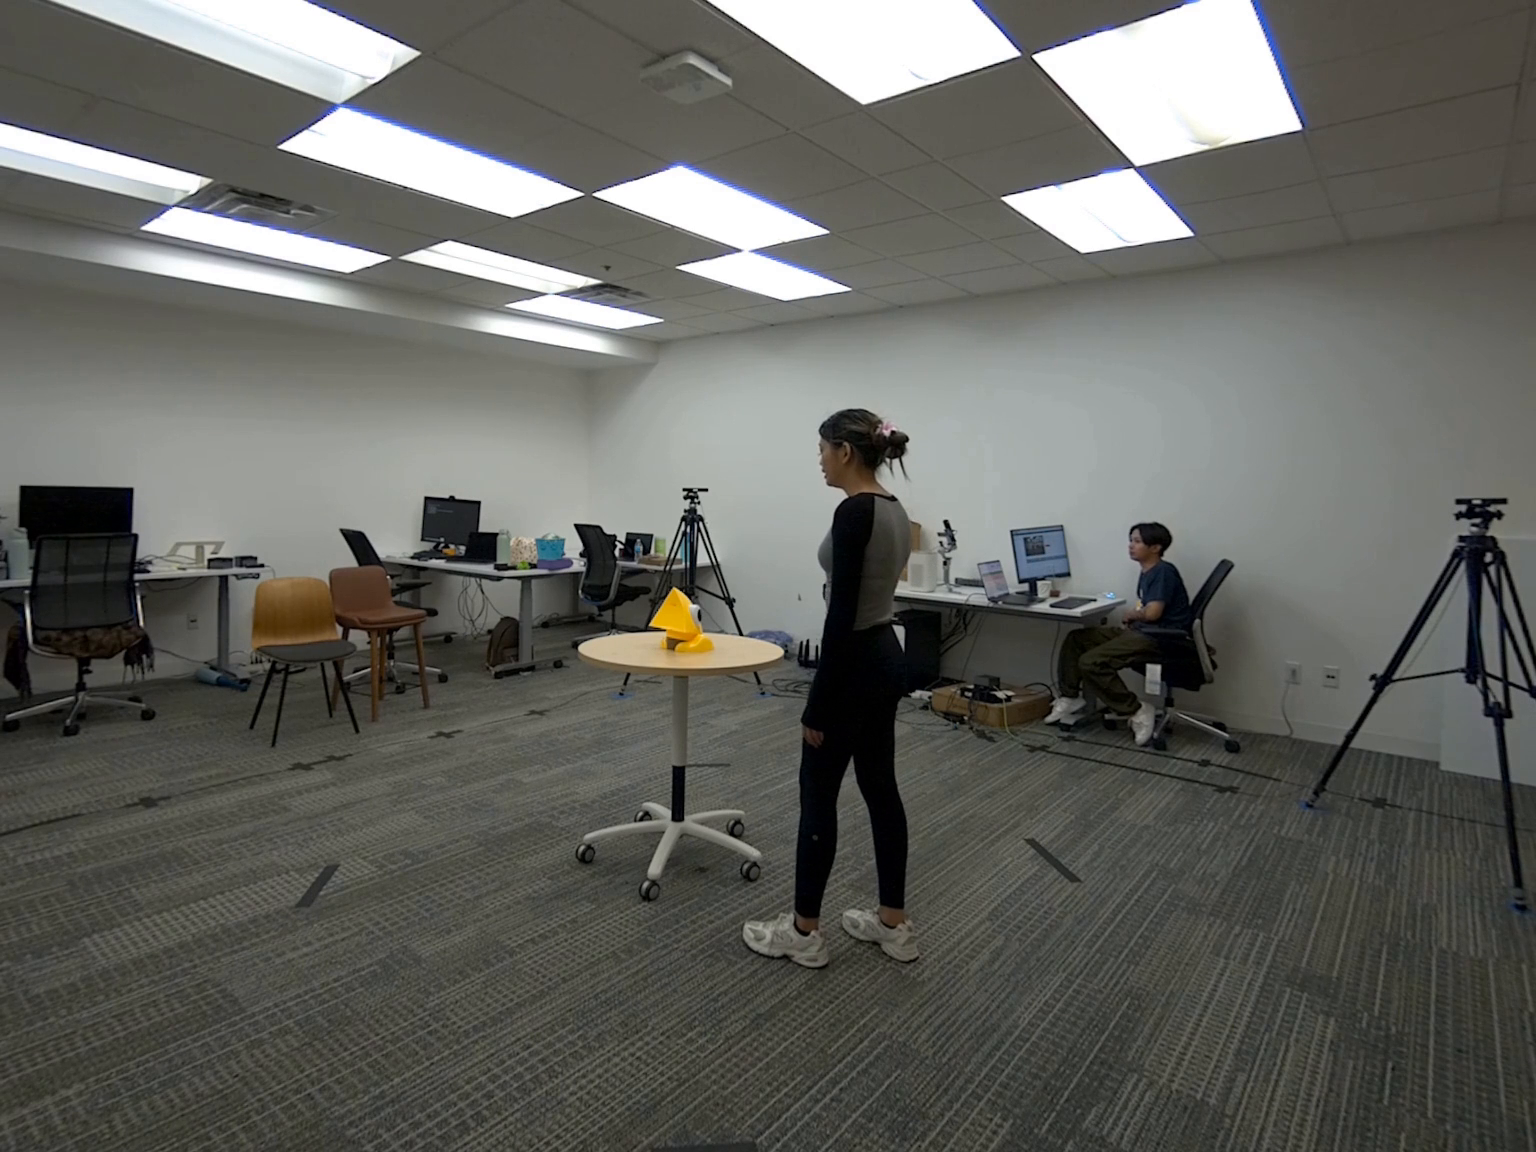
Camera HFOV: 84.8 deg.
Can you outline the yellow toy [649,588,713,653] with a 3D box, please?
[{"bbox_3d":[-0.321,0.153,3.187,0.212,0.230,0.187,4,4,43],"label":"yellow toy"}]
